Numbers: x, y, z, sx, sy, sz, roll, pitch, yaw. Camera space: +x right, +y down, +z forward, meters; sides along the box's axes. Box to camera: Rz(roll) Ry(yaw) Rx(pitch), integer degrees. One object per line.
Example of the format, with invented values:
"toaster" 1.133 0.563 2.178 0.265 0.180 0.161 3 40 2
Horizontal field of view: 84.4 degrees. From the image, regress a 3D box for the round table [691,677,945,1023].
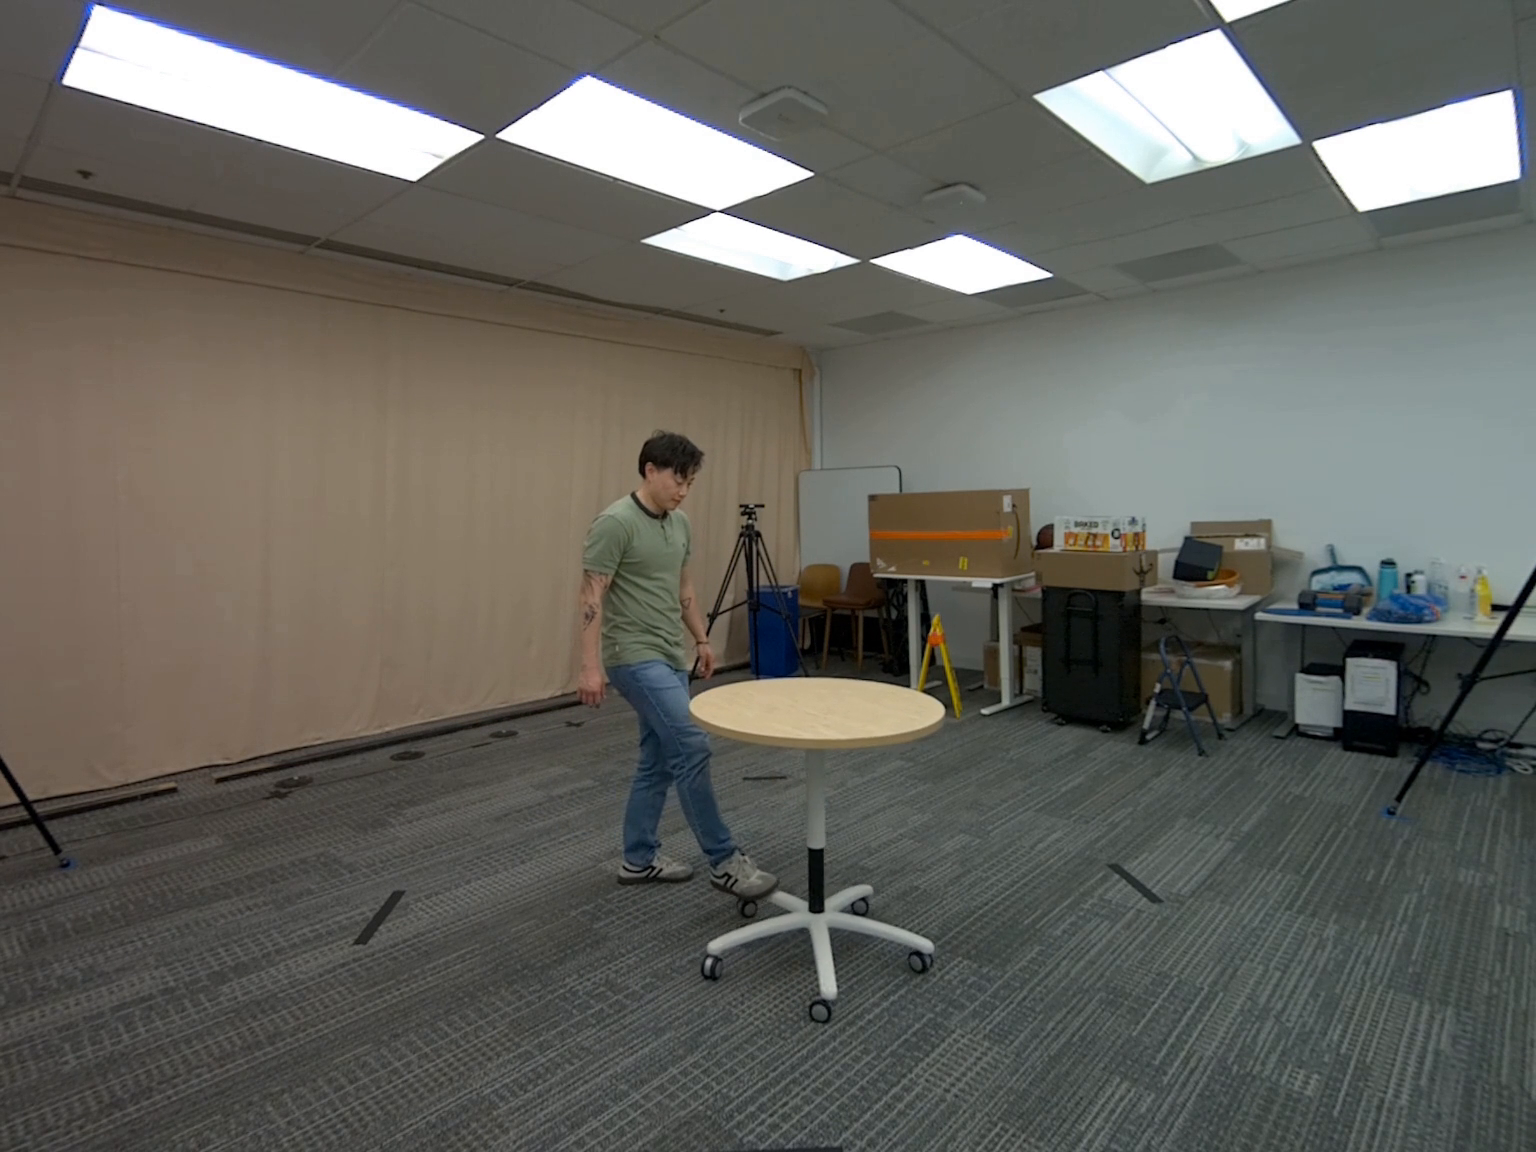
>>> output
"round table" 0.148 0.785 2.573 0.763 0.792 0.767 -1 4 -2
